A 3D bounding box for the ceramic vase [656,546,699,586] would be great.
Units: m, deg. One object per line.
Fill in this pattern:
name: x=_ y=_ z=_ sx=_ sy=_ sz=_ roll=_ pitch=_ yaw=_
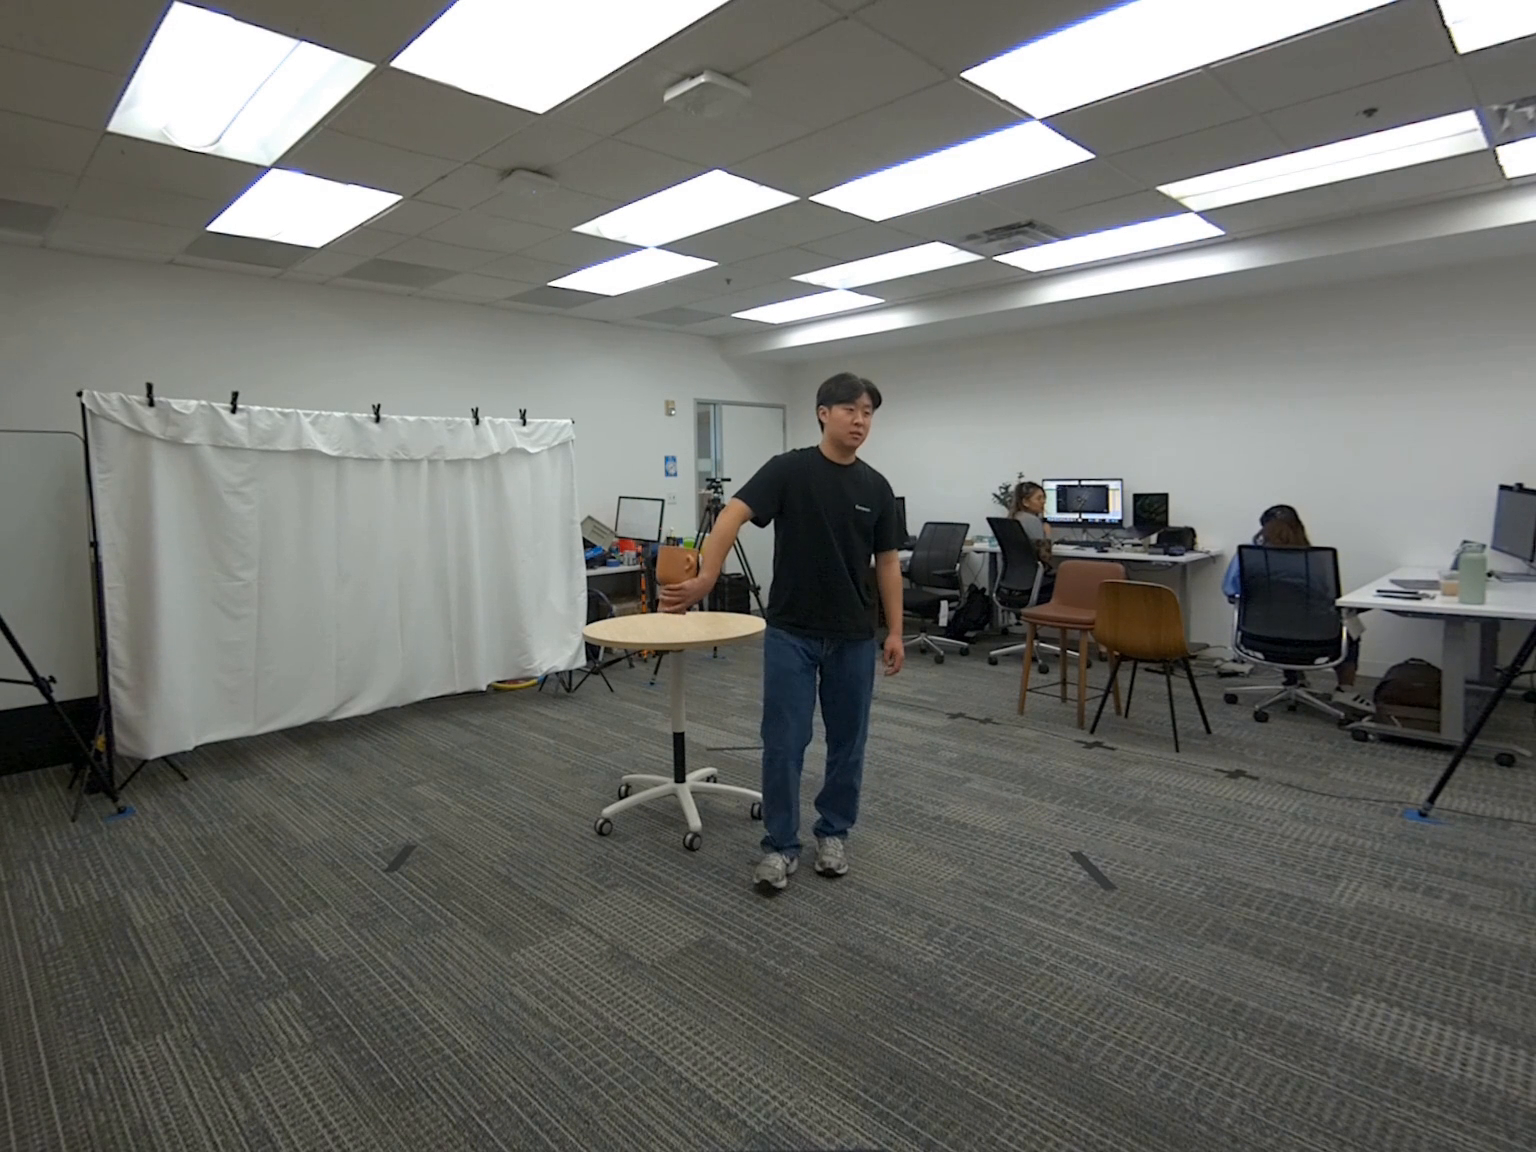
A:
ceramic vase: x=-0.299 y=0.015 z=2.836 sx=0.135 sy=0.220 sz=0.158 roll=6 pitch=-1 yaw=4
